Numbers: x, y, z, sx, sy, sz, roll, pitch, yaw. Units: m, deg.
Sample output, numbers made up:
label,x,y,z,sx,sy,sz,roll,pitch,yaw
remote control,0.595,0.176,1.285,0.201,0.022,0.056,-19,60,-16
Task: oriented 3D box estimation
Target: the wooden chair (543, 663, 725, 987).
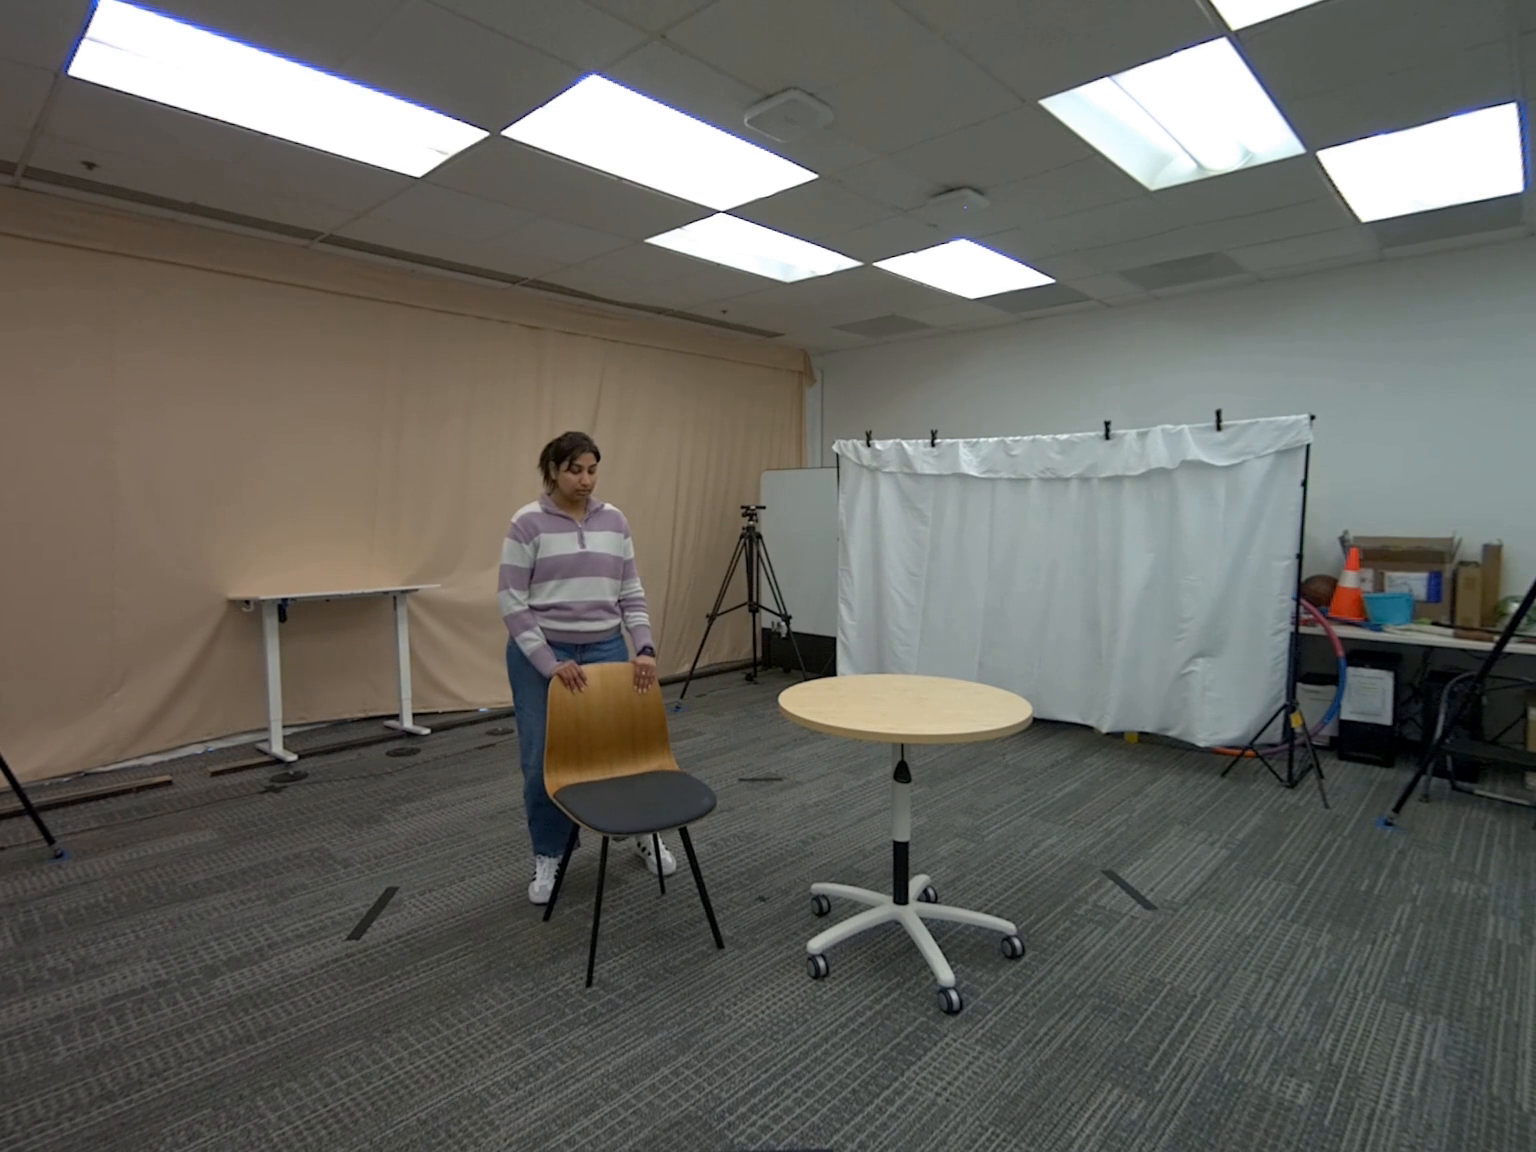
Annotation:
label,x,y,z,sx,sy,sz,roll,pitch,yaw
wooden chair,-0.436,0.742,2.709,0.465,0.878,0.537,-2,-1,-30
